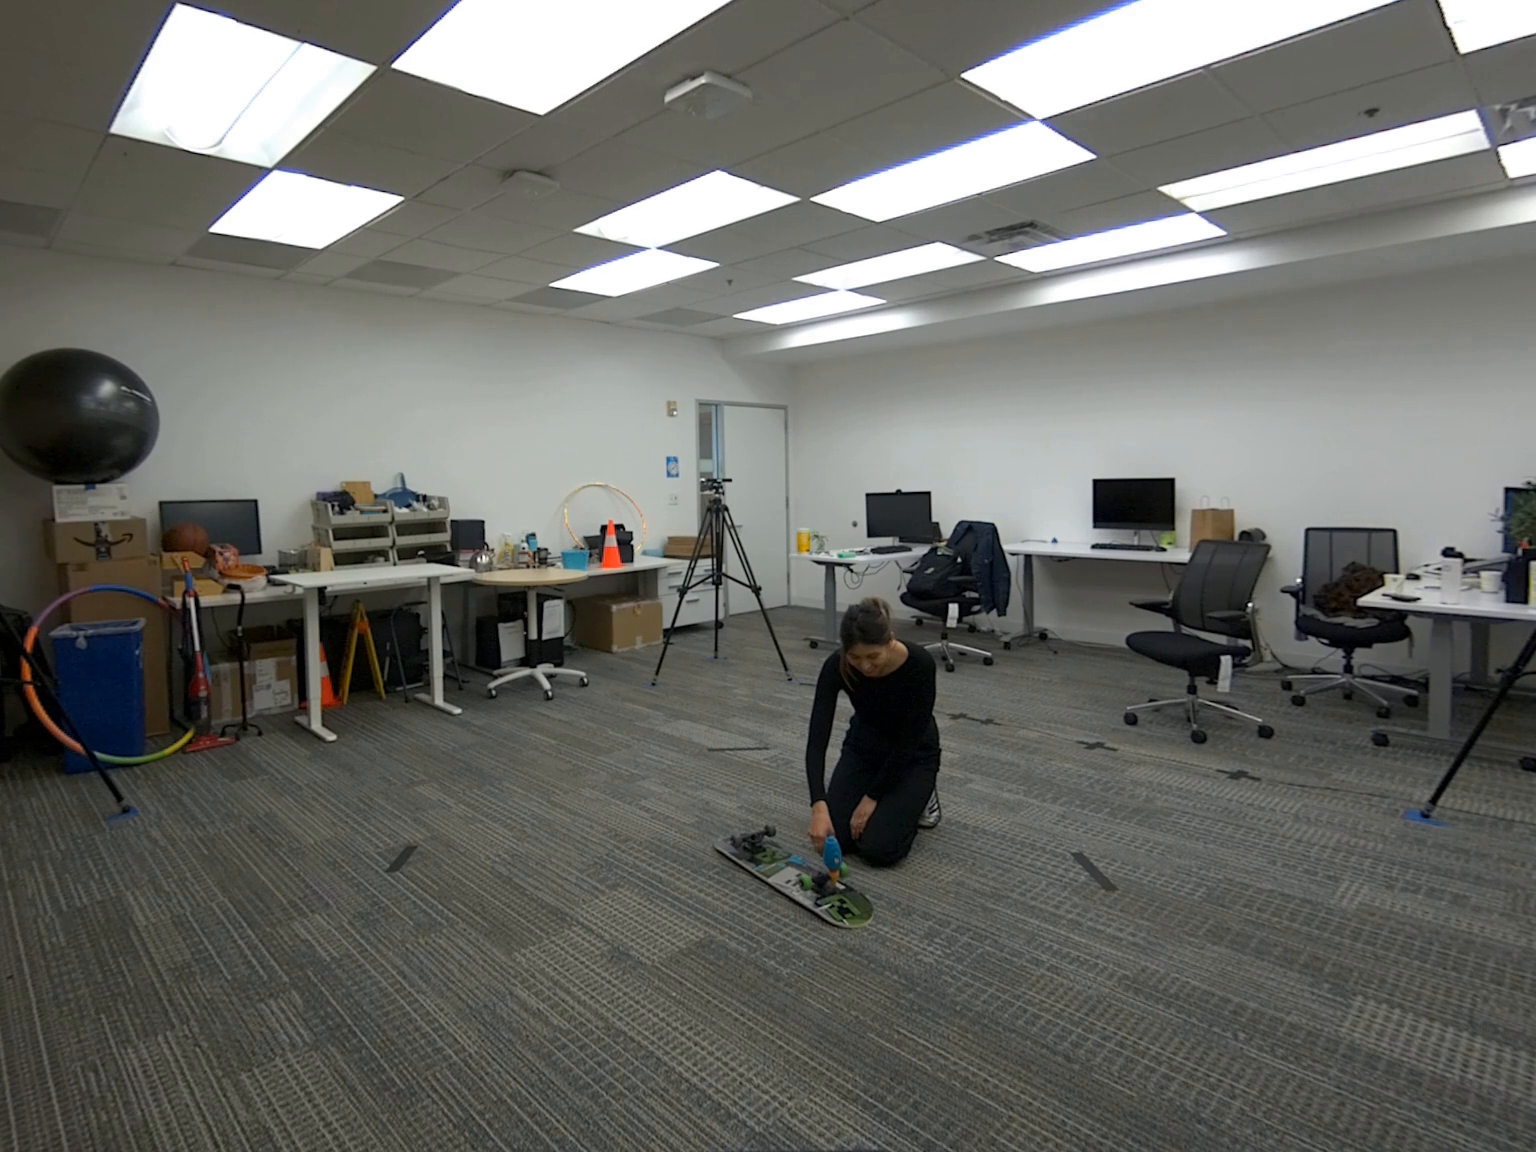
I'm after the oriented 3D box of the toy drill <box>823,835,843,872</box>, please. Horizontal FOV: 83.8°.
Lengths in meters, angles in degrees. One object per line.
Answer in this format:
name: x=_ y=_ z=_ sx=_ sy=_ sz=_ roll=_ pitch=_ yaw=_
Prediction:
toy drill: x=0.199 y=0.927 z=2.827 sx=0.061 sy=0.168 sz=0.149 roll=-10 pitch=13 yaw=-9
